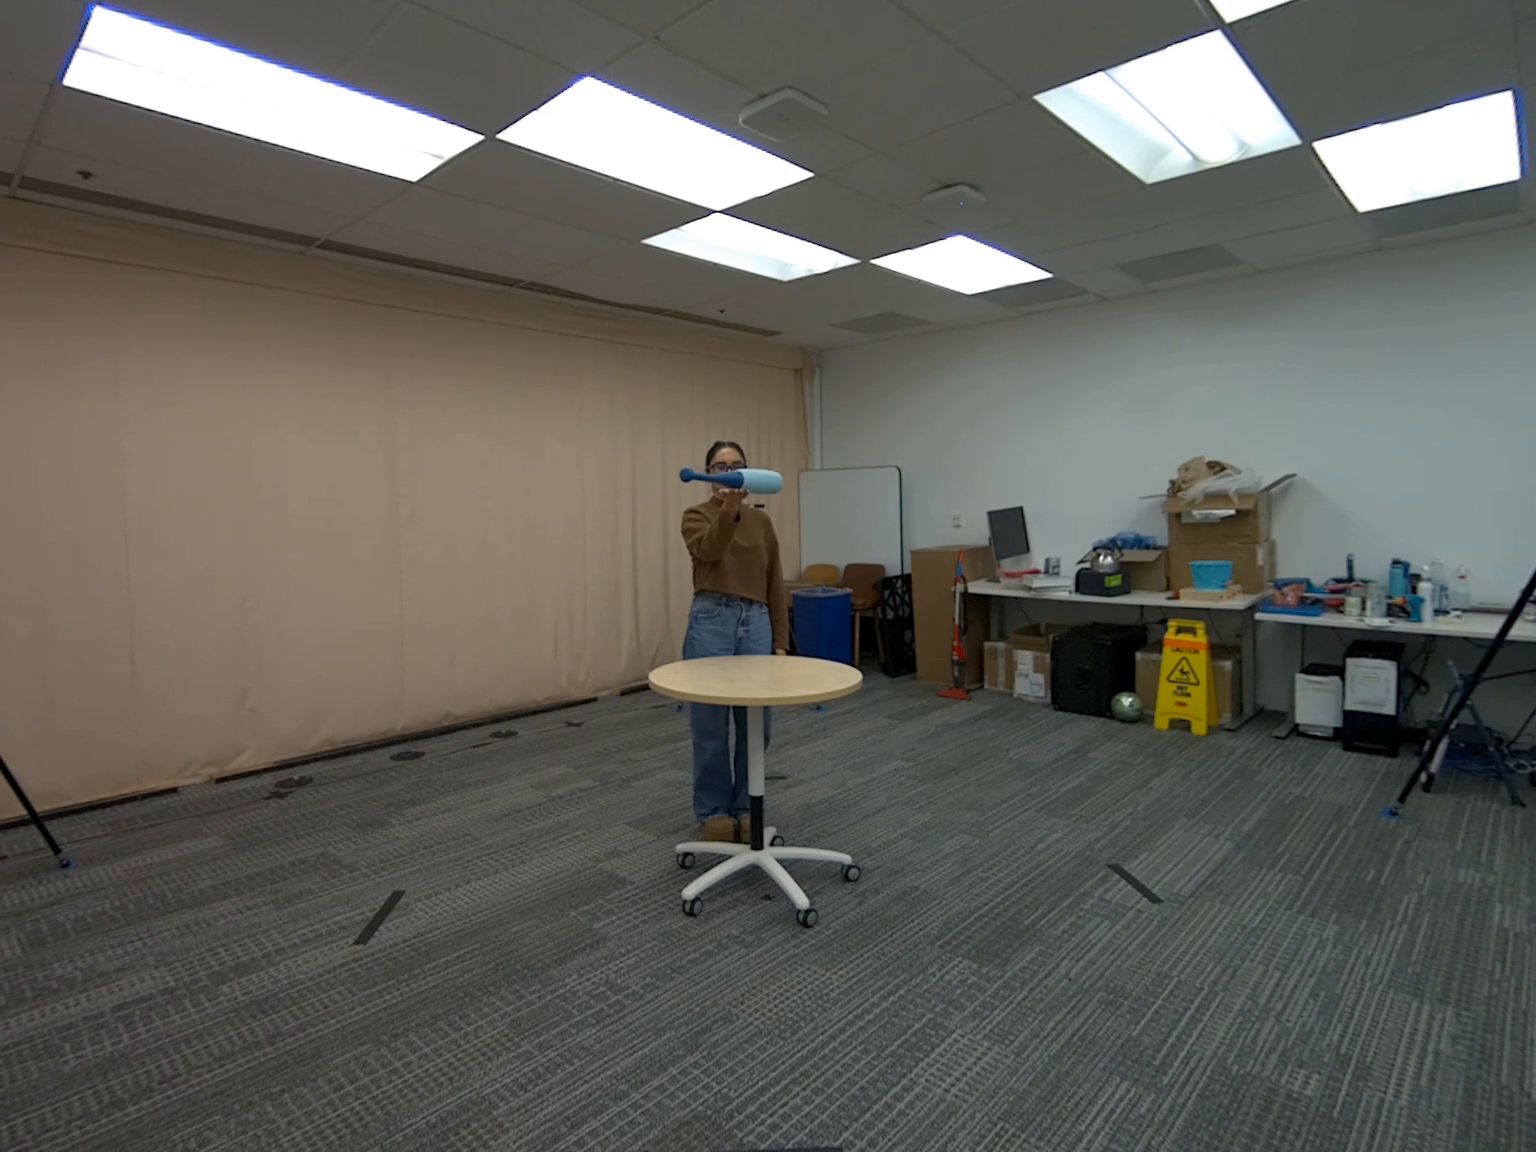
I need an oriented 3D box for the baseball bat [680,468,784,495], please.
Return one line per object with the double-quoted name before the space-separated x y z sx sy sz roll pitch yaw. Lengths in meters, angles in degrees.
"baseball bat" -0.120 -0.333 2.928 0.092 0.089 0.527 2 3 34
